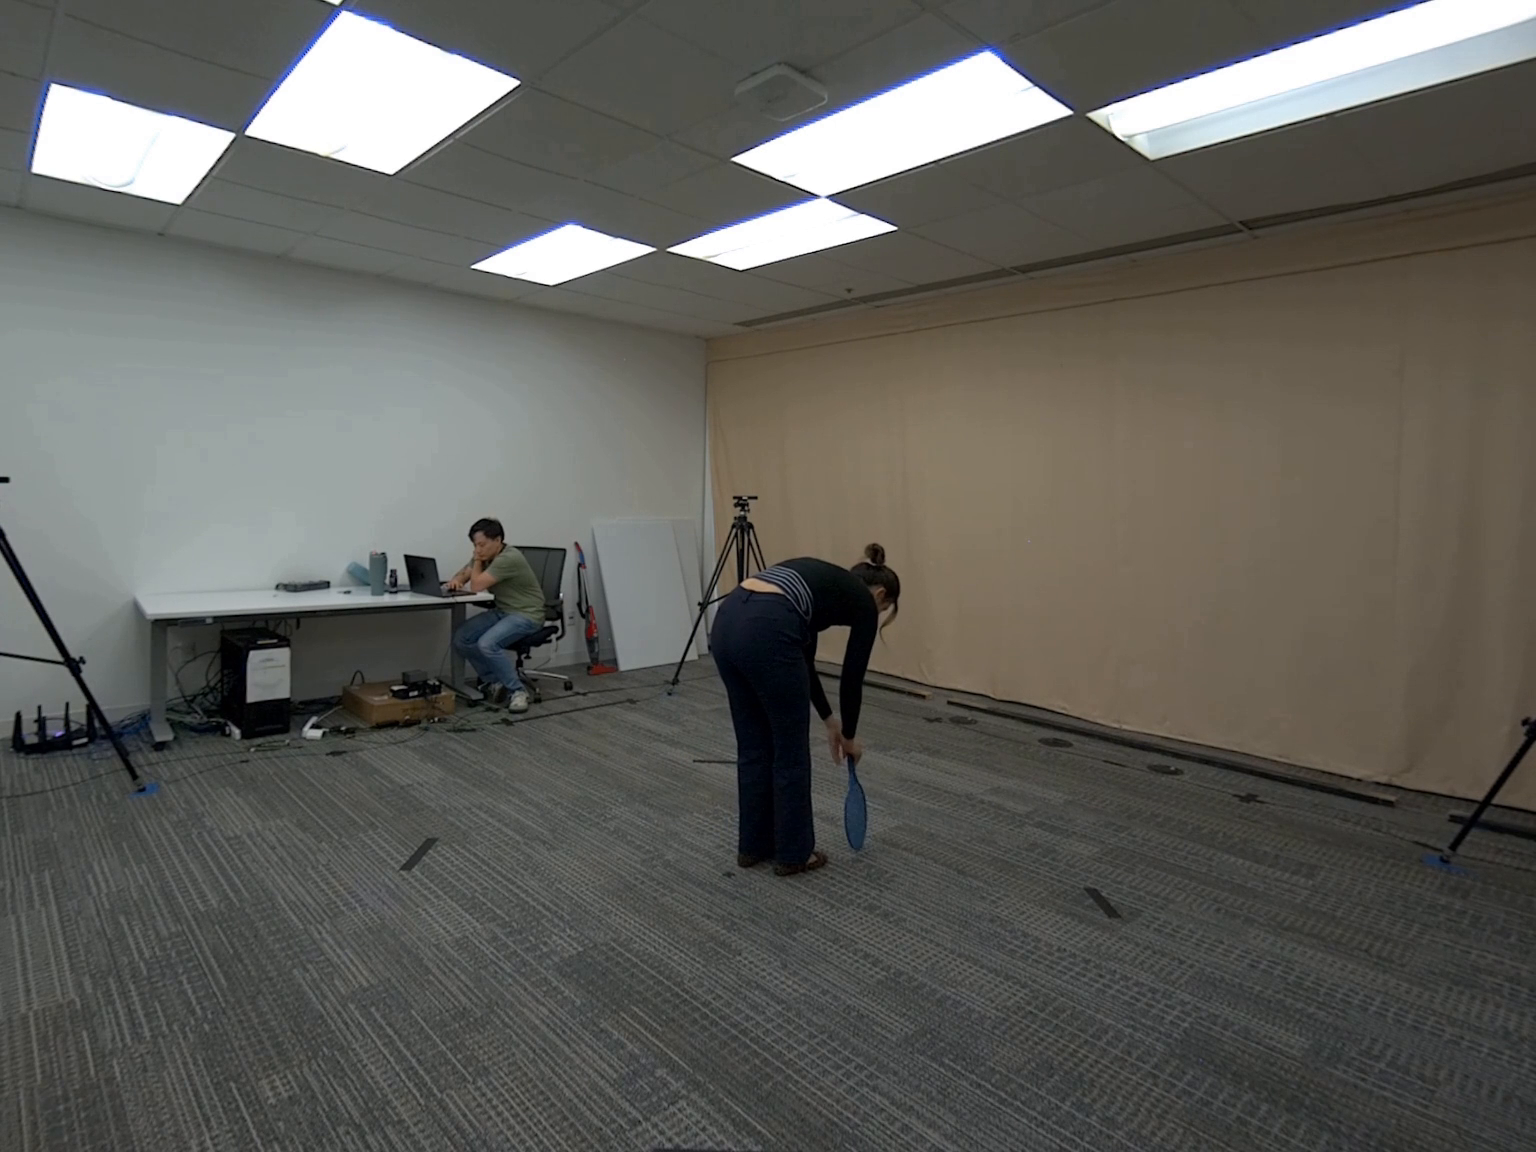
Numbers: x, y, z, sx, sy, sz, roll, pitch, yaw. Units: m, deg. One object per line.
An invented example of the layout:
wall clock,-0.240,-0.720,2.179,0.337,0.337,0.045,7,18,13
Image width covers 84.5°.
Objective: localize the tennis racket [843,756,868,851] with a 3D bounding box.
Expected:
tennis racket,0.339,0.874,3.365,0.032,0.433,0.209,-4,-2,26
